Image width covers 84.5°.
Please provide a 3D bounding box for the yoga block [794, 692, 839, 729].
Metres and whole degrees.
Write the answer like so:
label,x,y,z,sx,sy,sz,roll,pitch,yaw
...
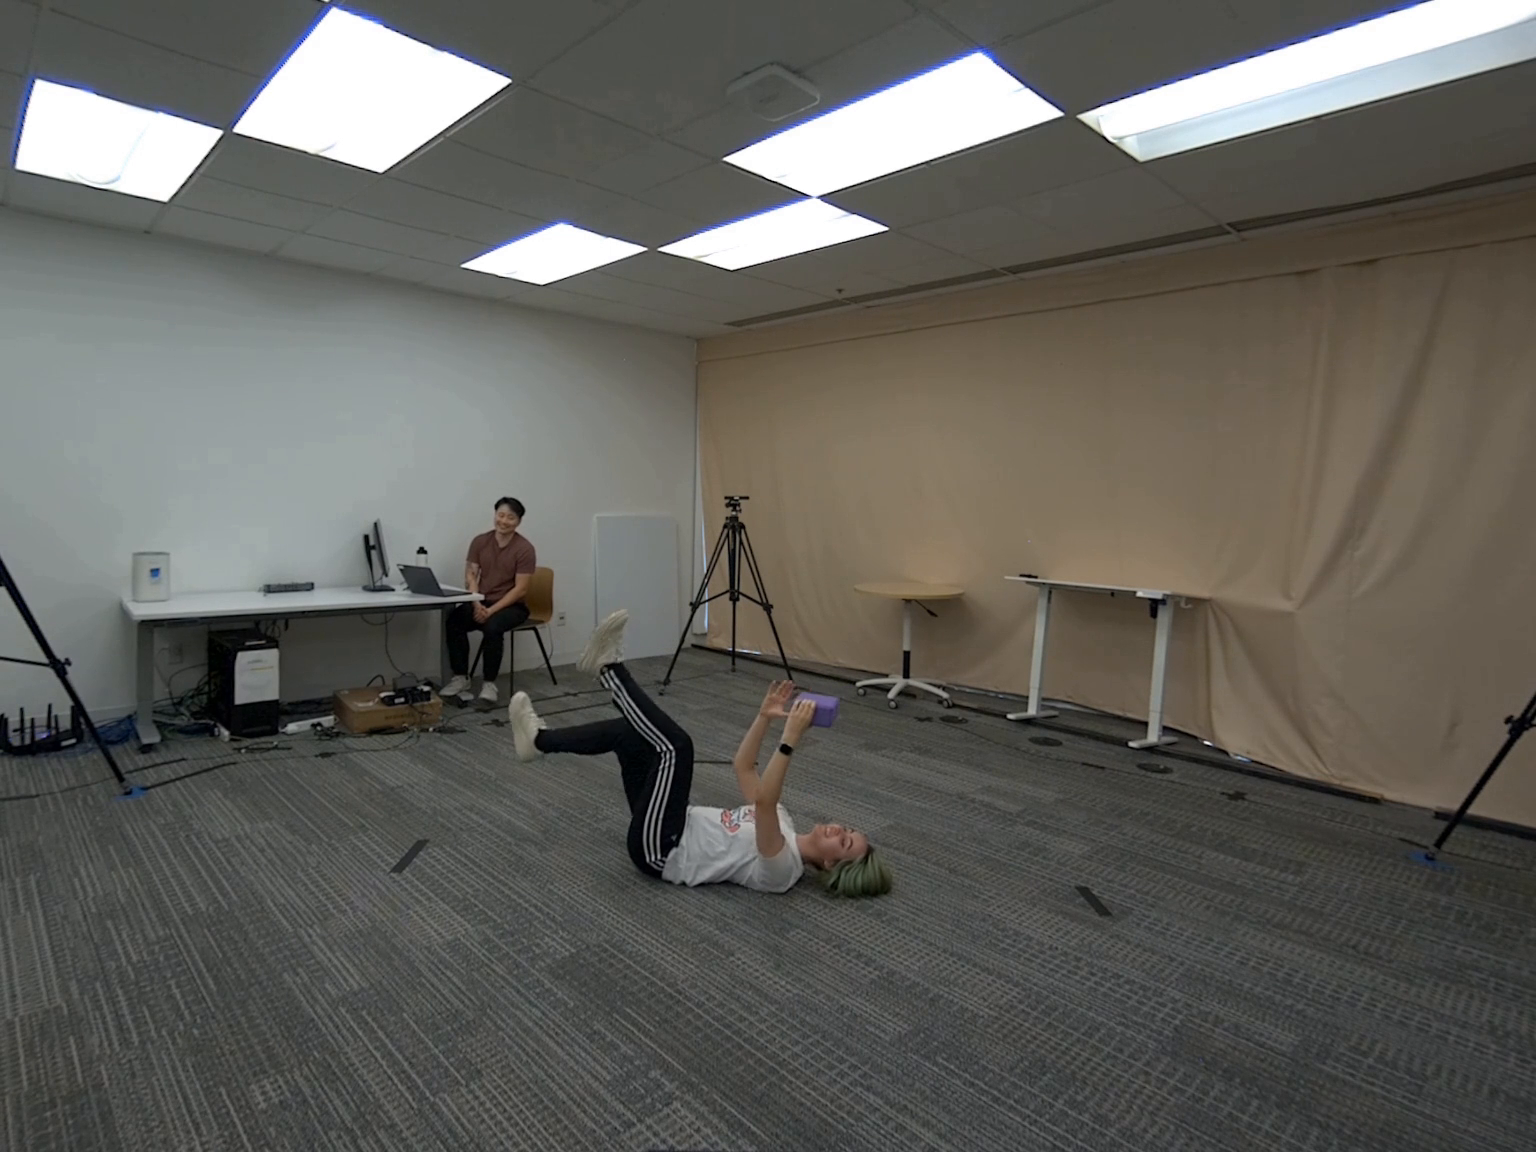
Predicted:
label,x,y,z,sx,sy,sz,roll,pitch,yaw
yoga block,0.161,0.481,3.022,0.151,0.076,0.227,6,4,13
